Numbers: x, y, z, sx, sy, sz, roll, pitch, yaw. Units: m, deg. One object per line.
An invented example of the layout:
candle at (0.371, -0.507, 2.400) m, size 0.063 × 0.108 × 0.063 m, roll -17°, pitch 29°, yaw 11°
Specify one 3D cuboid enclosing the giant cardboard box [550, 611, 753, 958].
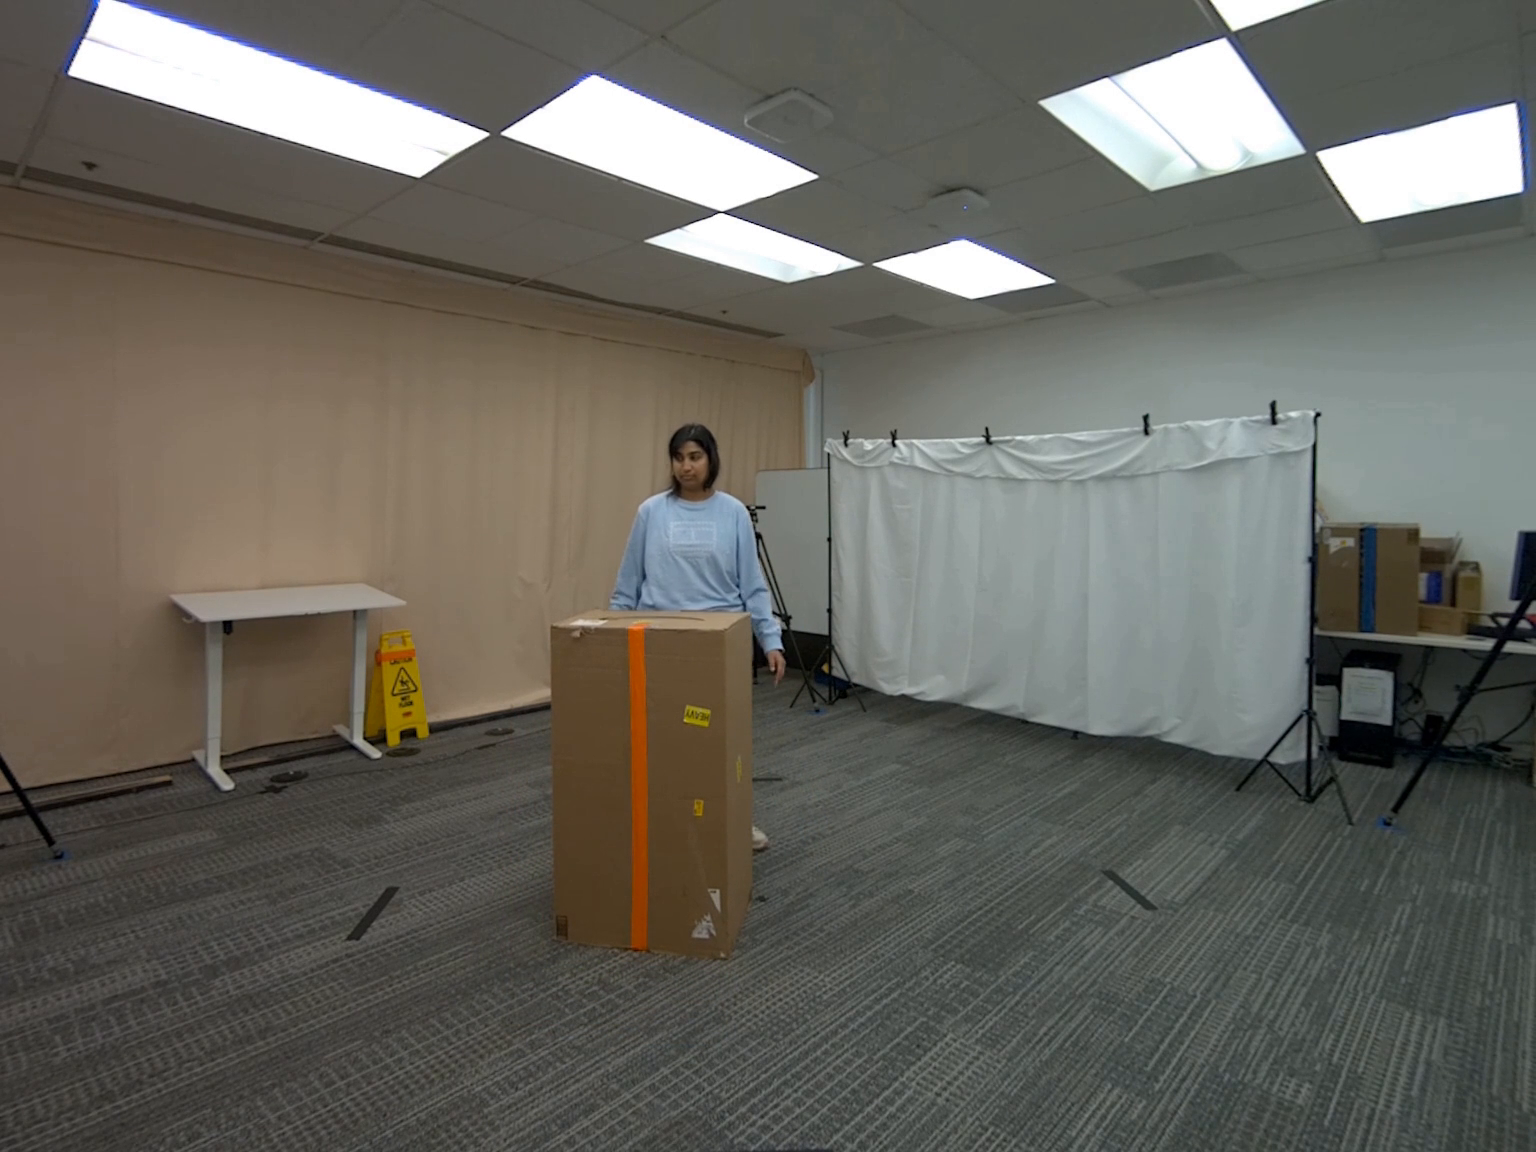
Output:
giant cardboard box at (-0.369, 0.653, 2.818) m, size 0.585 × 1.024 × 0.422 m, roll 0°, pitch 3°, yaw 11°
